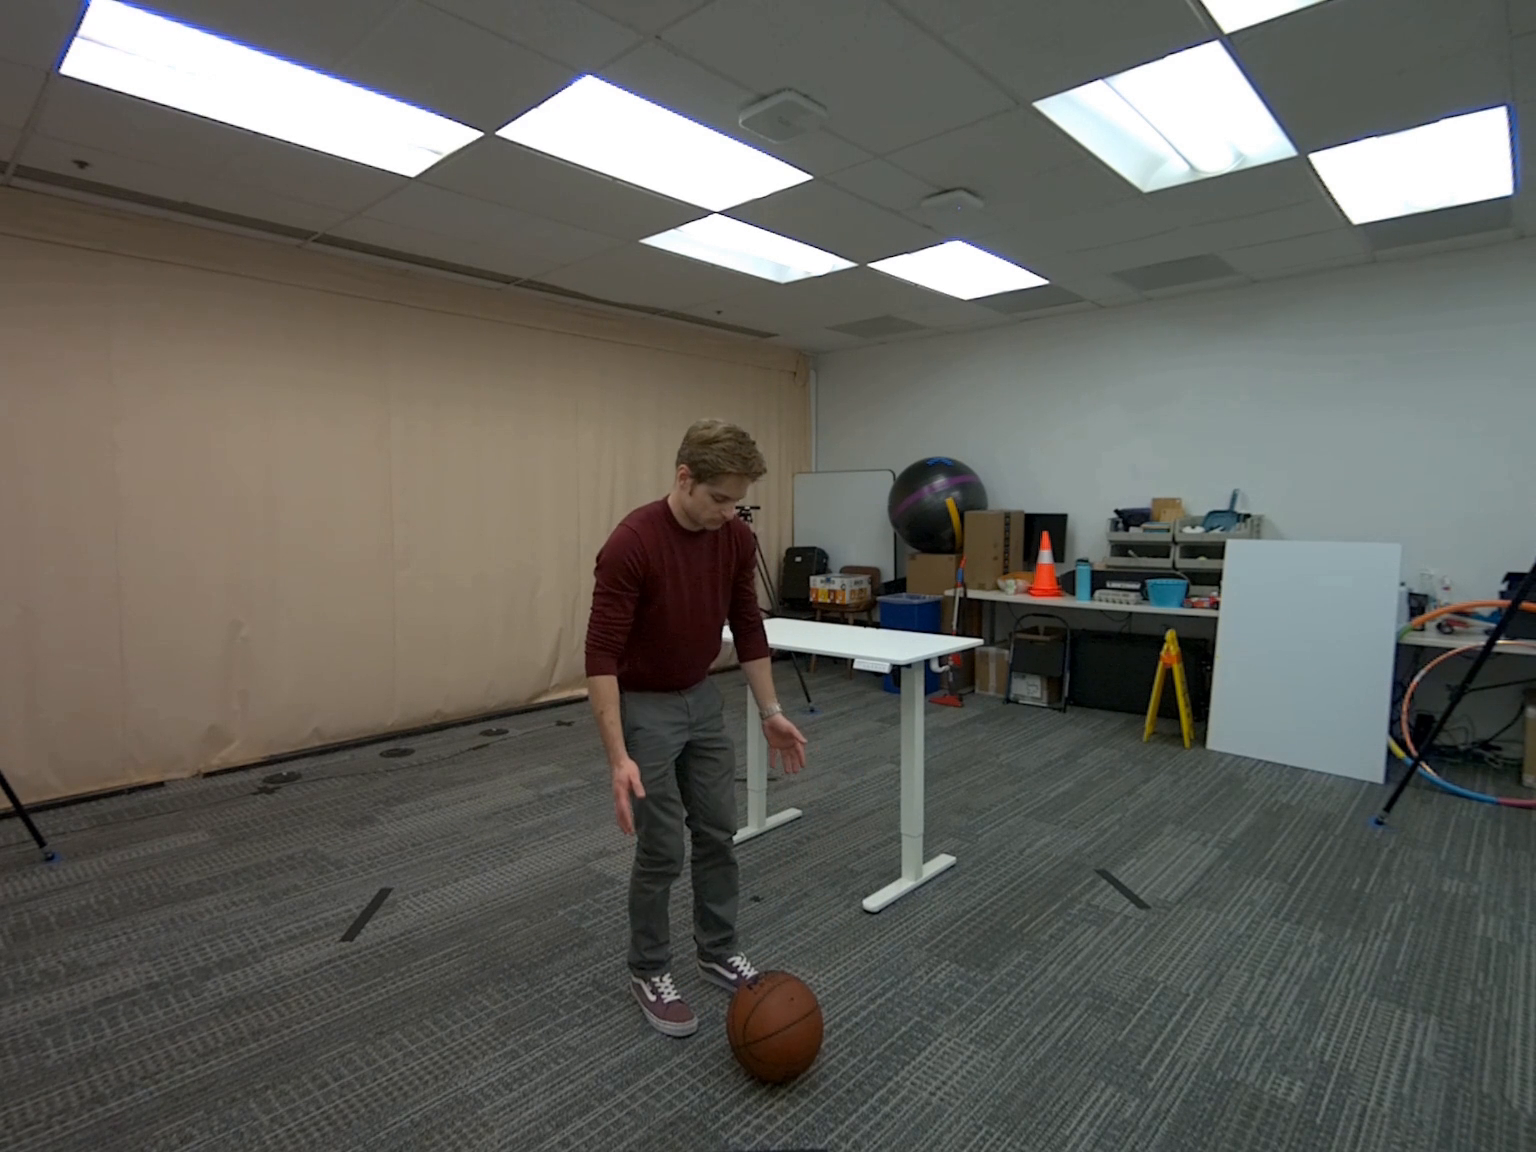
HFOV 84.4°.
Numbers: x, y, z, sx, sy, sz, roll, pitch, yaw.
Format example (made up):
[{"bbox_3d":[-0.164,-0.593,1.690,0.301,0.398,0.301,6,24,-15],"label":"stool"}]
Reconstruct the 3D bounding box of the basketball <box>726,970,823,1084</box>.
[{"bbox_3d":[0.019,1.107,2.055,0.236,0.235,0.237,0,4,-2],"label":"basketball"}]
